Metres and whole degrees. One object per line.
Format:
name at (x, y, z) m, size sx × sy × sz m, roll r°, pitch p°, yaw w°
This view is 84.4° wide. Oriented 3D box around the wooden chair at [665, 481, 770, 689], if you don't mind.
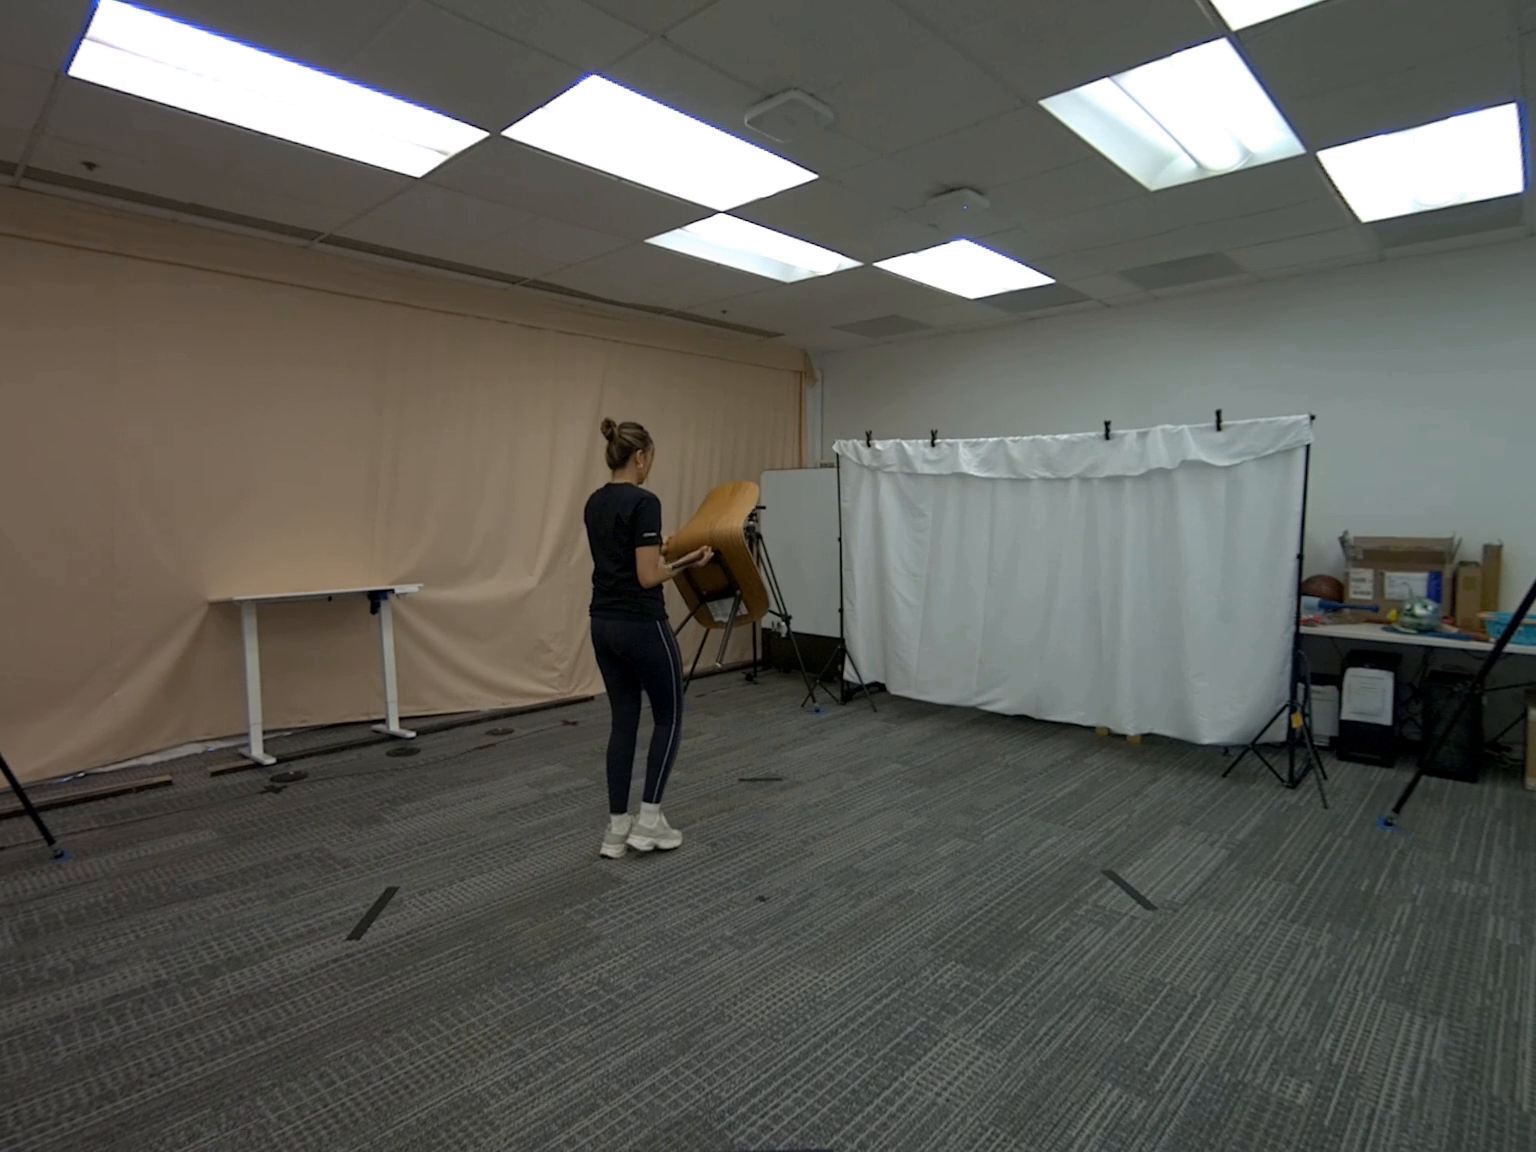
wooden chair at (-0.250, 0.022, 3.716) m, size 0.490 × 0.513 × 0.872 m, roll -15°, pitch 23°, yaw 36°
